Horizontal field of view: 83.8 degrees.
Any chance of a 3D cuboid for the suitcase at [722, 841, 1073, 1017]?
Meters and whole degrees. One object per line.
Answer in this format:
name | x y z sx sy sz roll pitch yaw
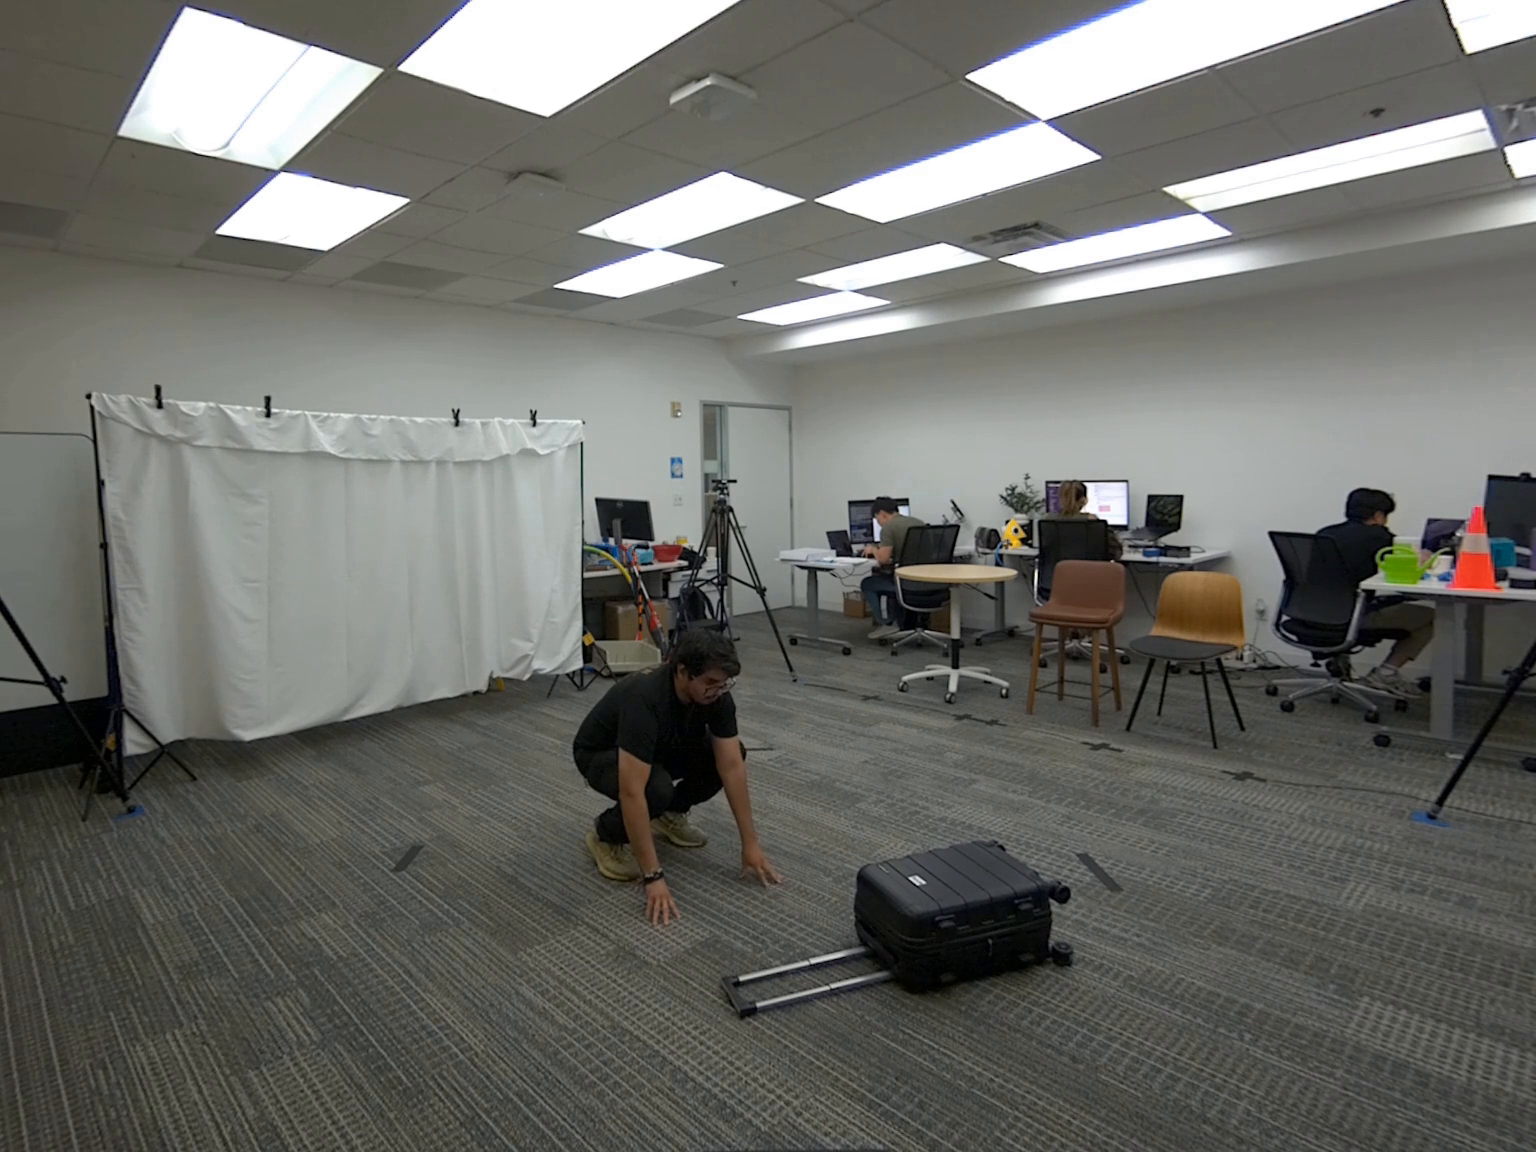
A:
suitcase | 0.362 0.991 2.445 0.961 0.256 0.393 -2 6 -20
